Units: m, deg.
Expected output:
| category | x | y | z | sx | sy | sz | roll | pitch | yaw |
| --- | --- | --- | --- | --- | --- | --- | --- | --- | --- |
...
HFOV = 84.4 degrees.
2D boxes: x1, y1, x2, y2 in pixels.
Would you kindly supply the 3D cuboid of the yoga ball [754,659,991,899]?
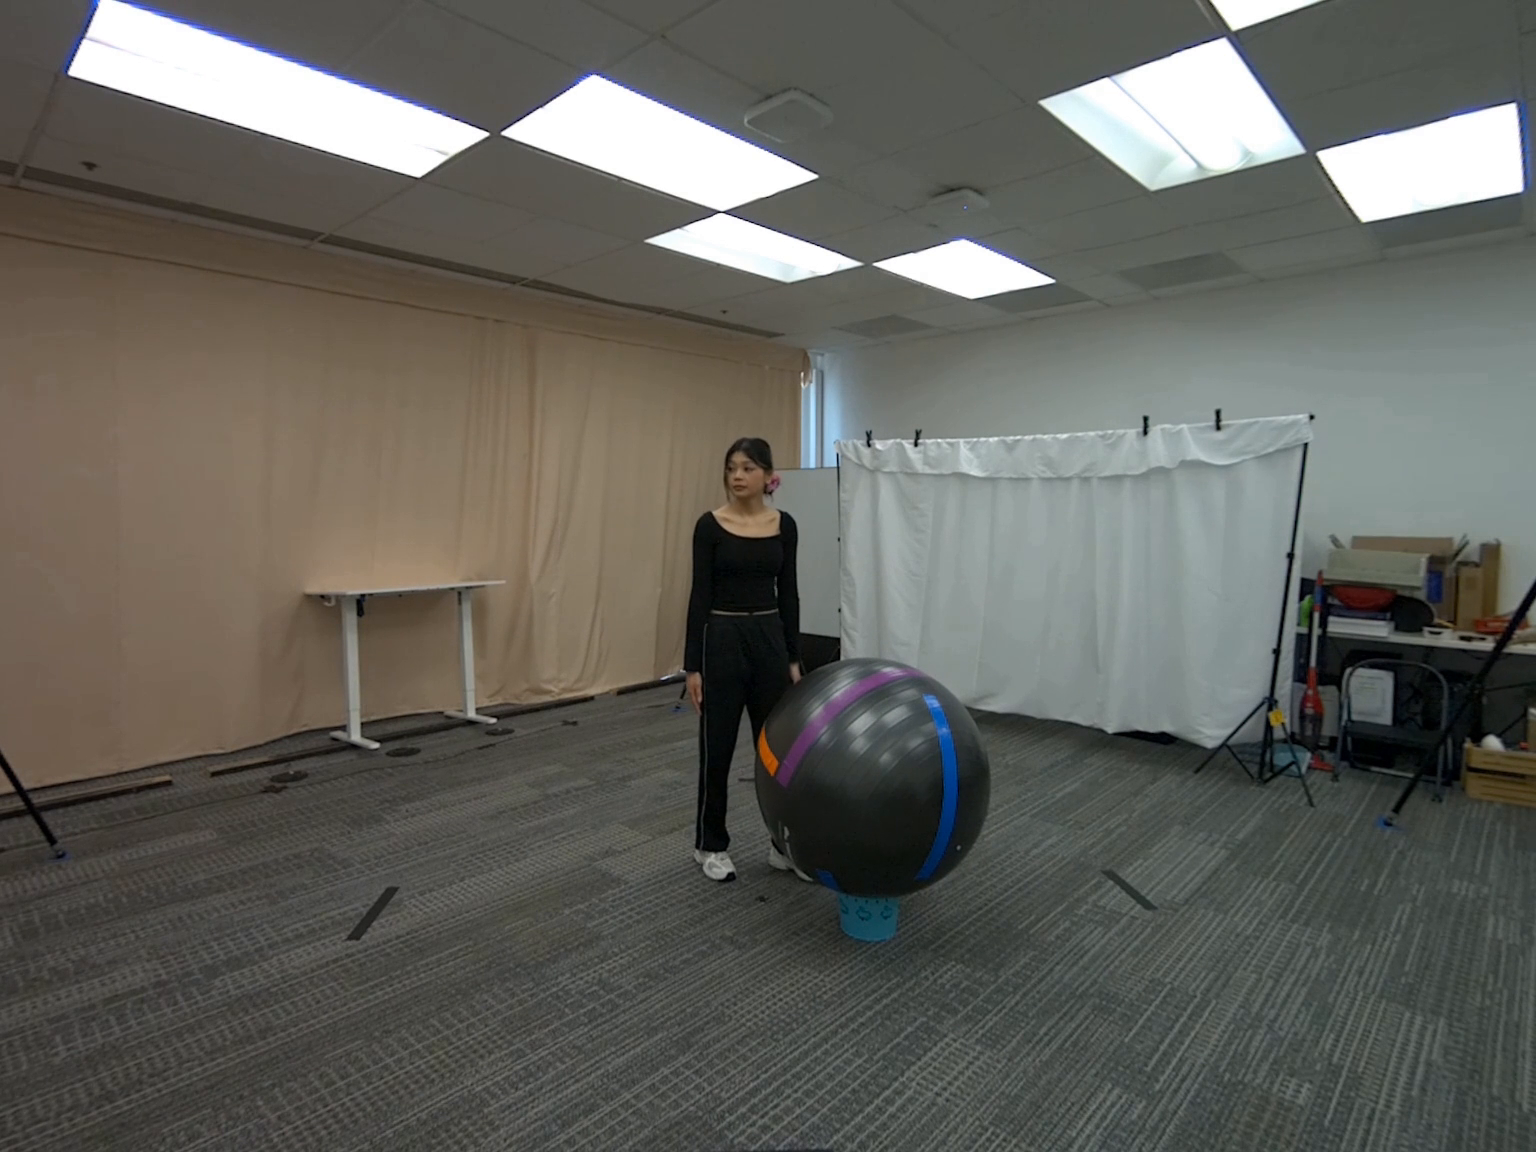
| category | x | y | z | sx | sy | sz | roll | pitch | yaw |
| --- | --- | --- | --- | --- | --- | --- | --- | --- | --- |
| yoga ball | 0.342 | 0.657 | 2.761 | 0.757 | 0.756 | 0.760 | 0 | 4 | -2 |
